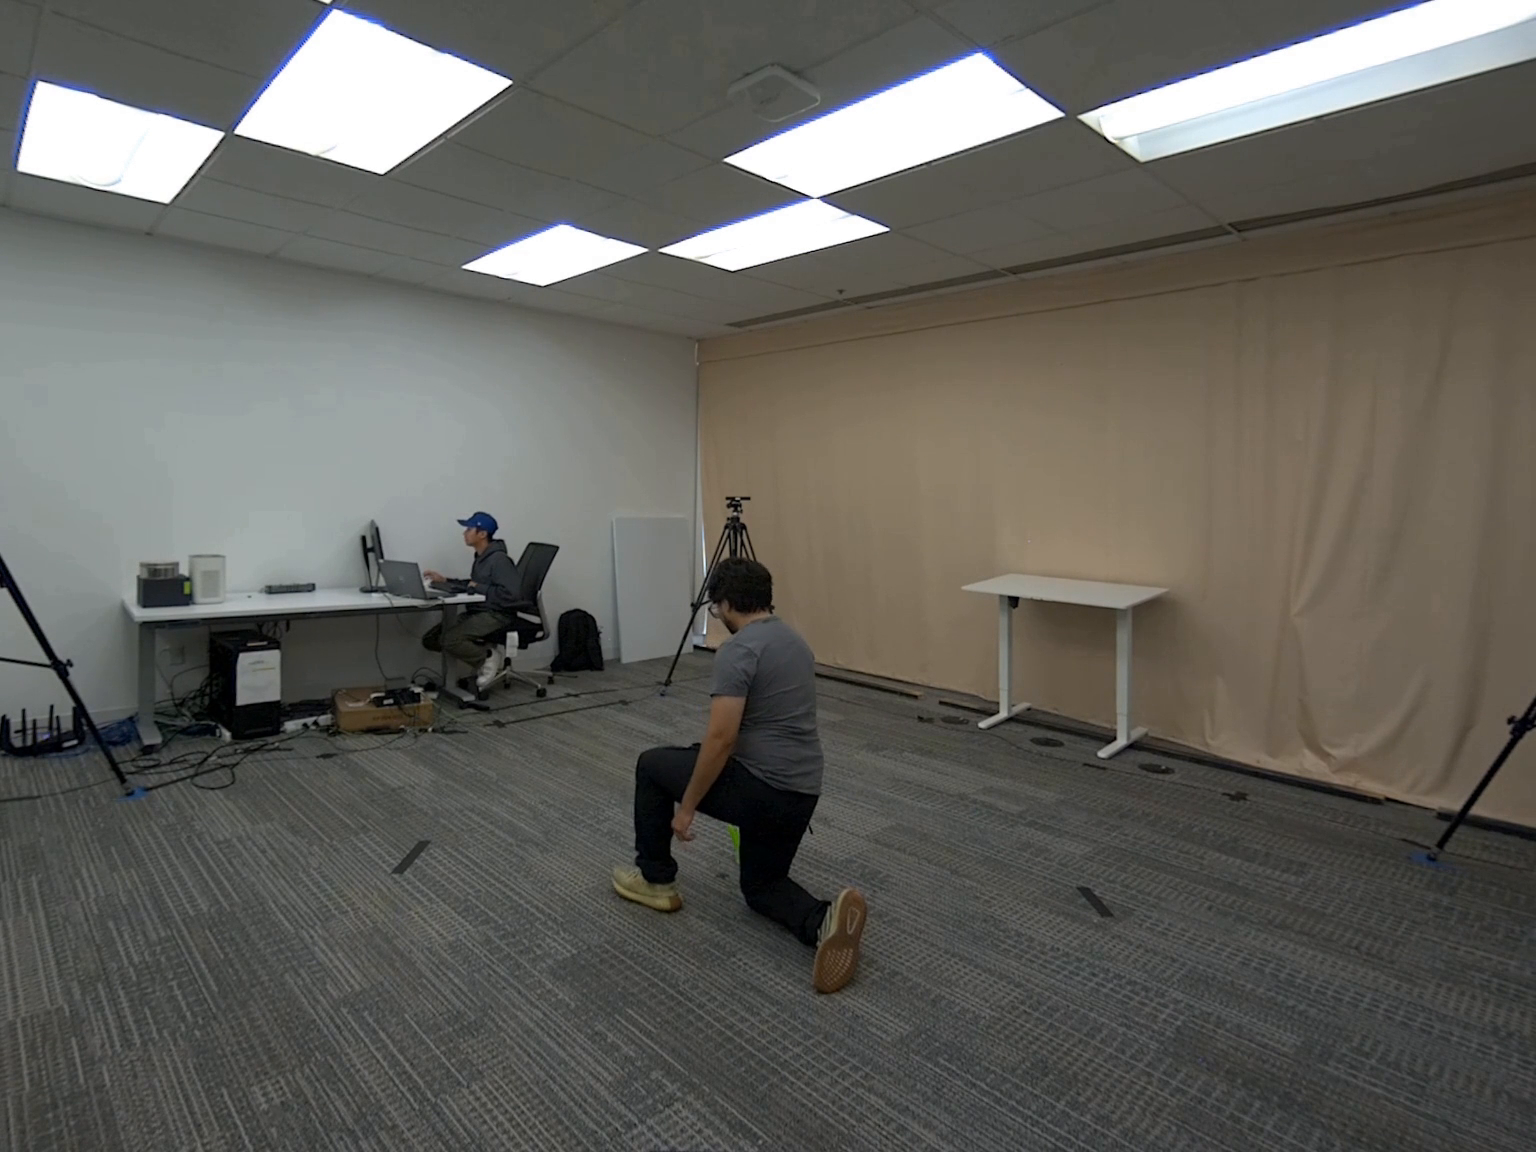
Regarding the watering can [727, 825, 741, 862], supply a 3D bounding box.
[{"bbox_3d":[-0.089,1.011,3.232,0.096,0.176,0.285,0,4,-33],"label":"watering can"}]
